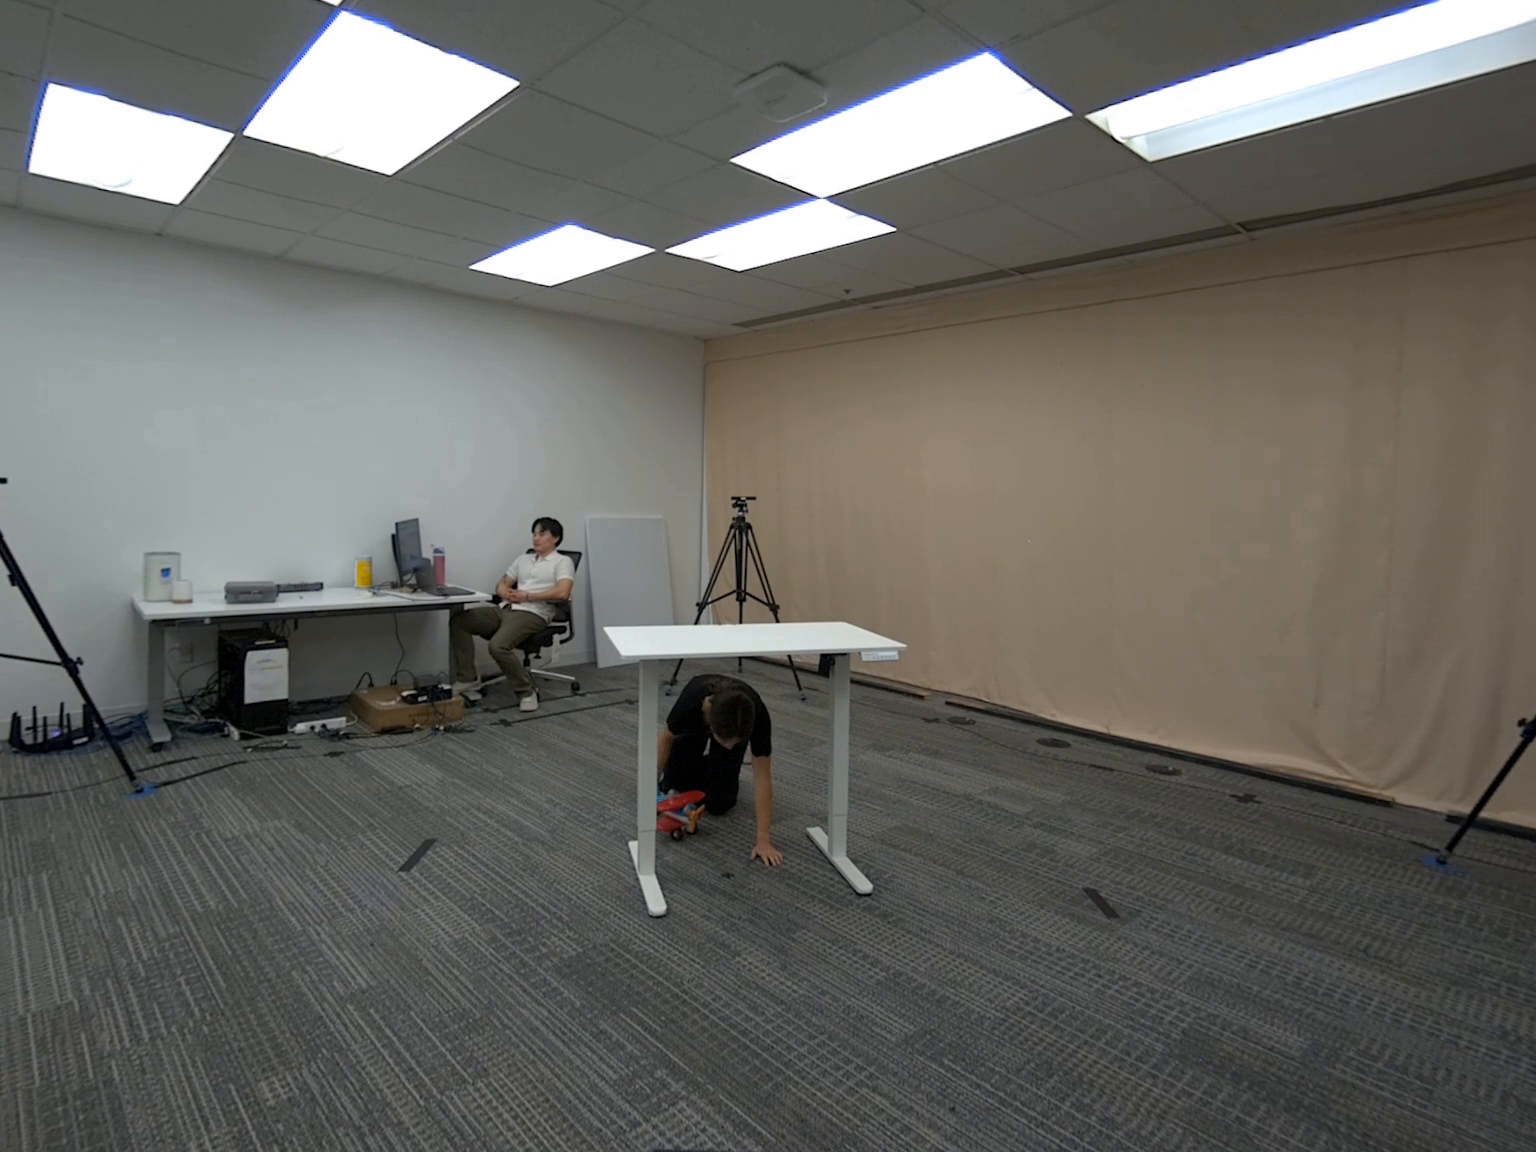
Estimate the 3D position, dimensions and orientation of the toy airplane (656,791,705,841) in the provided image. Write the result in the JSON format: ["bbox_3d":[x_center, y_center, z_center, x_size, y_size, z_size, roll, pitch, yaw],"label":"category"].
[{"bbox_3d":[-0.405,0.969,3.472,0.262,0.155,0.250,15,17,12],"label":"toy airplane"}]
